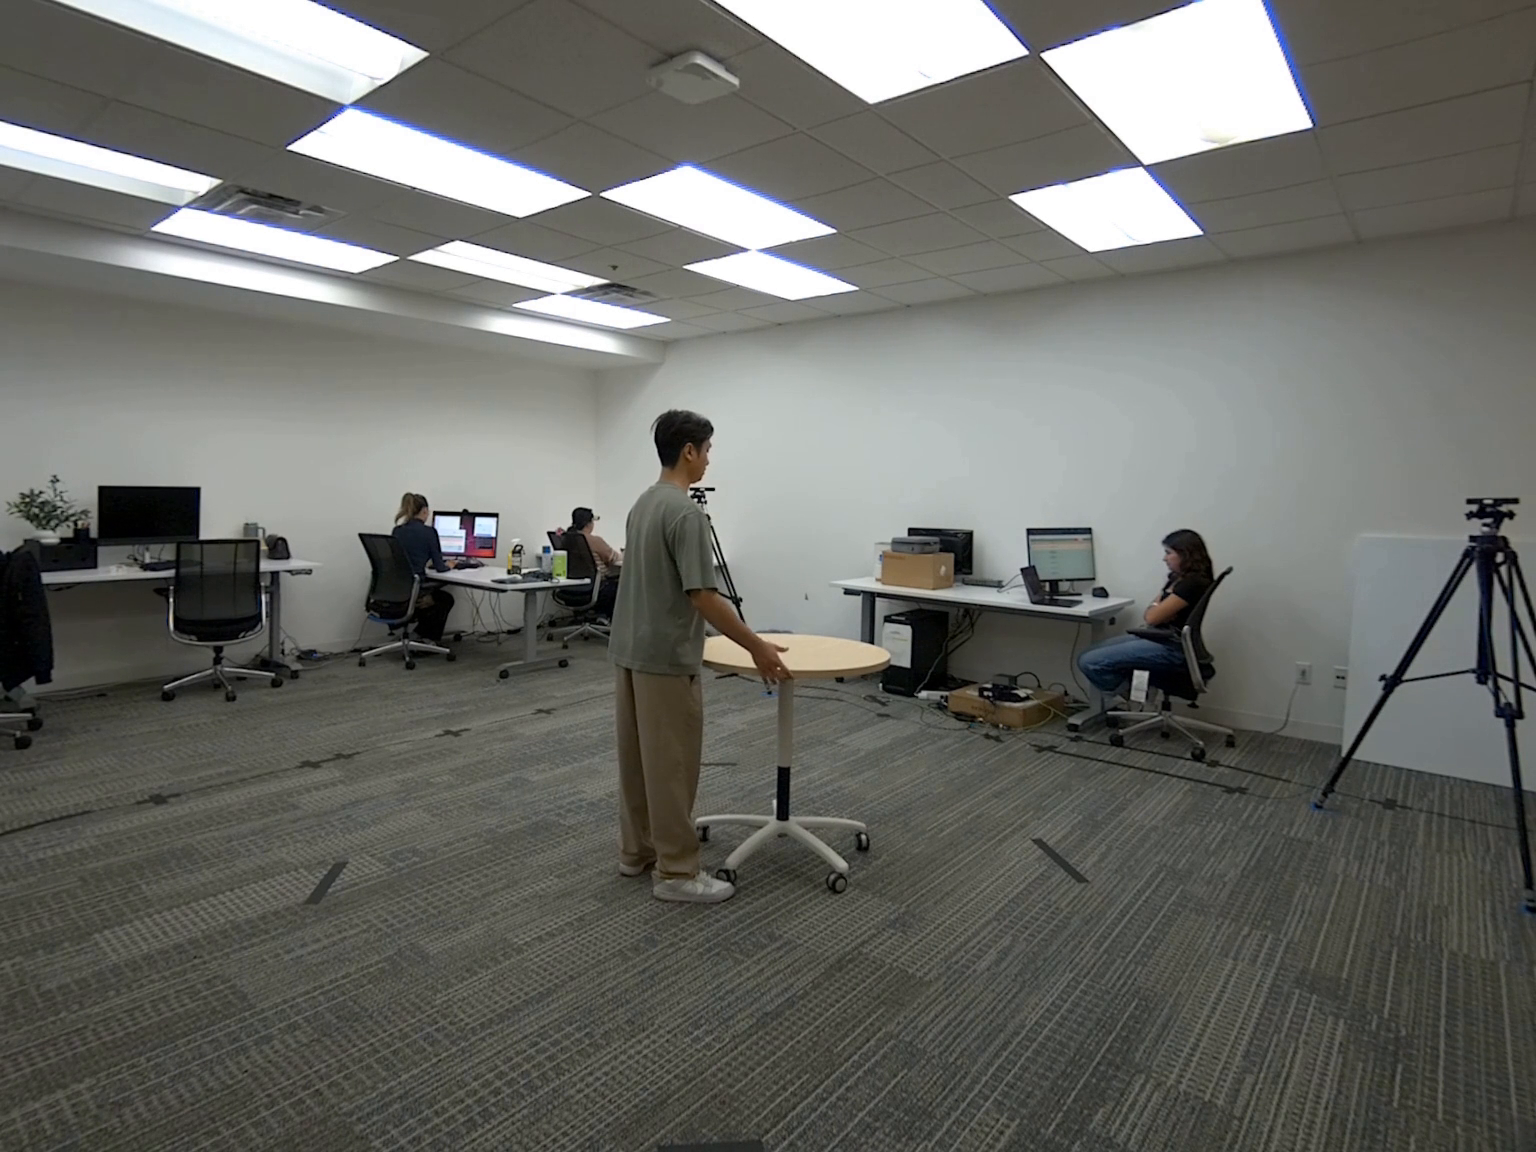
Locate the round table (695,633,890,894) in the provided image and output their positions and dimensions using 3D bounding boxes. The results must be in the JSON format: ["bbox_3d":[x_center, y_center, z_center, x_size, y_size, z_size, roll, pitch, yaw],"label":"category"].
[{"bbox_3d":[0.060,0.670,3.203,0.784,0.784,0.788,1,3,-2],"label":"round table"}]
